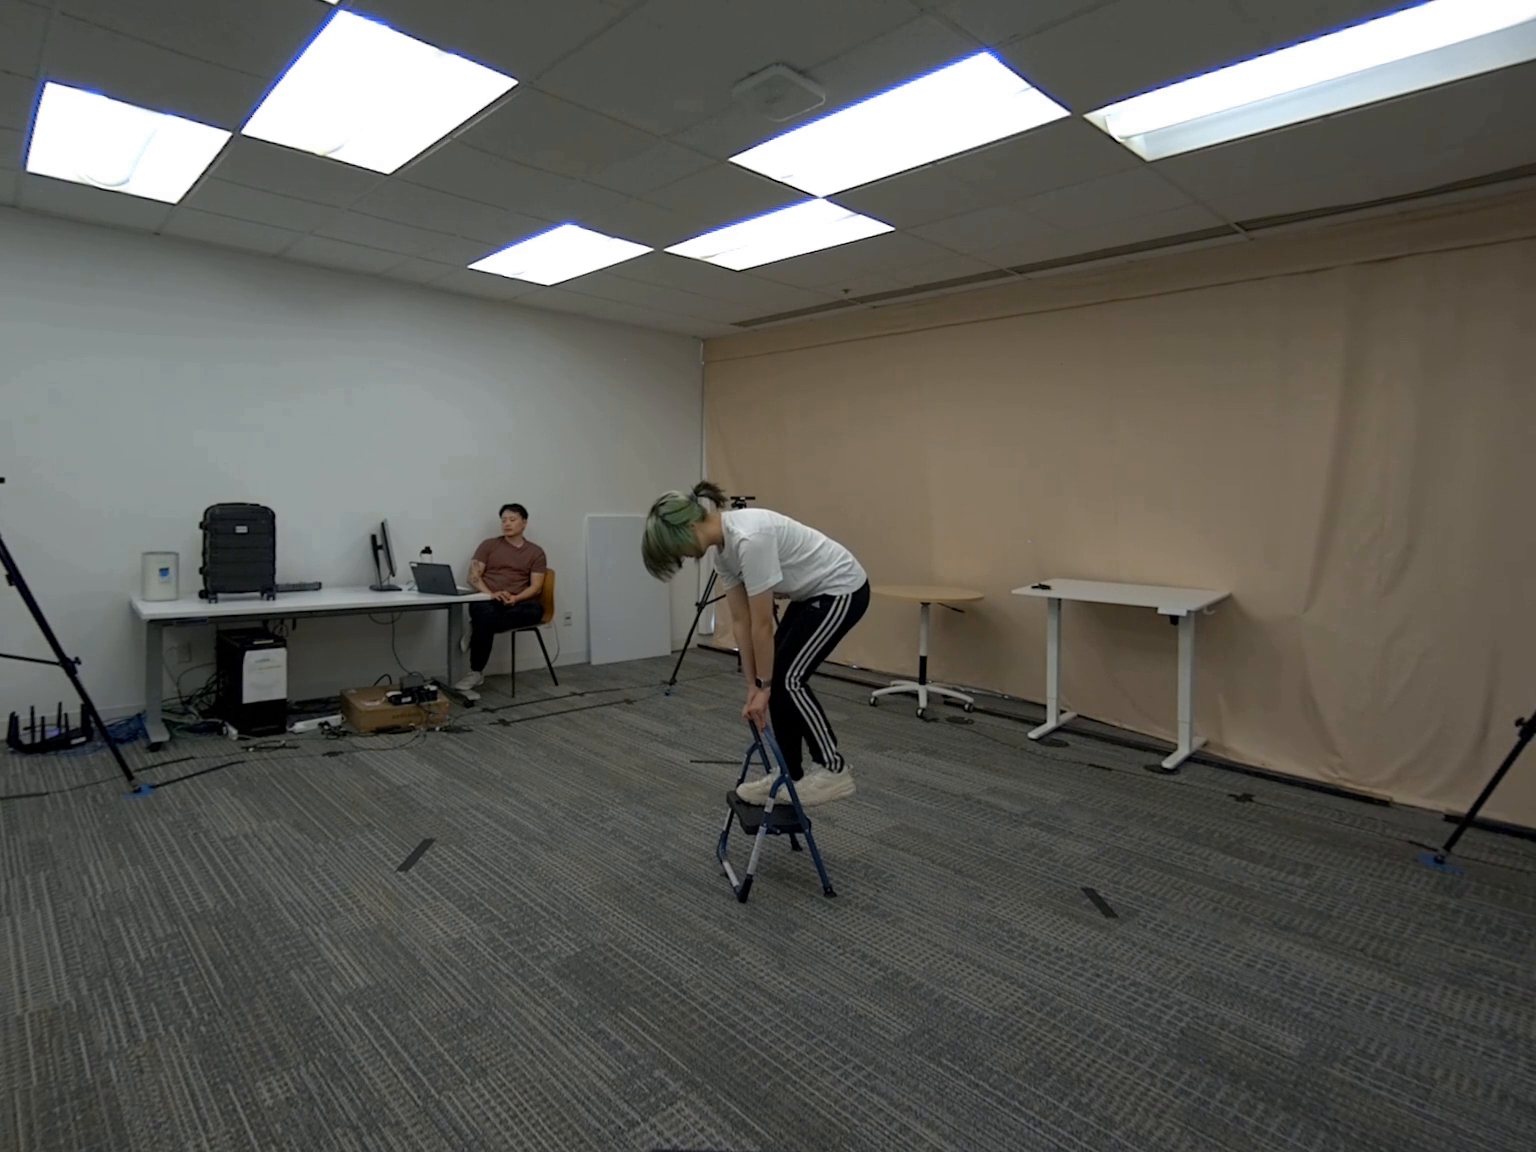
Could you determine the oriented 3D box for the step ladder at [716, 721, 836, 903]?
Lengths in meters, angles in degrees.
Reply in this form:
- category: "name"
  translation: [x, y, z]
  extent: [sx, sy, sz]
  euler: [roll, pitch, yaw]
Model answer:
- category: "step ladder"
  translation: [0.015, 0.810, 3.105]
  extent: [0.345, 0.605, 0.436]
  euler: [0, 4, -15]
